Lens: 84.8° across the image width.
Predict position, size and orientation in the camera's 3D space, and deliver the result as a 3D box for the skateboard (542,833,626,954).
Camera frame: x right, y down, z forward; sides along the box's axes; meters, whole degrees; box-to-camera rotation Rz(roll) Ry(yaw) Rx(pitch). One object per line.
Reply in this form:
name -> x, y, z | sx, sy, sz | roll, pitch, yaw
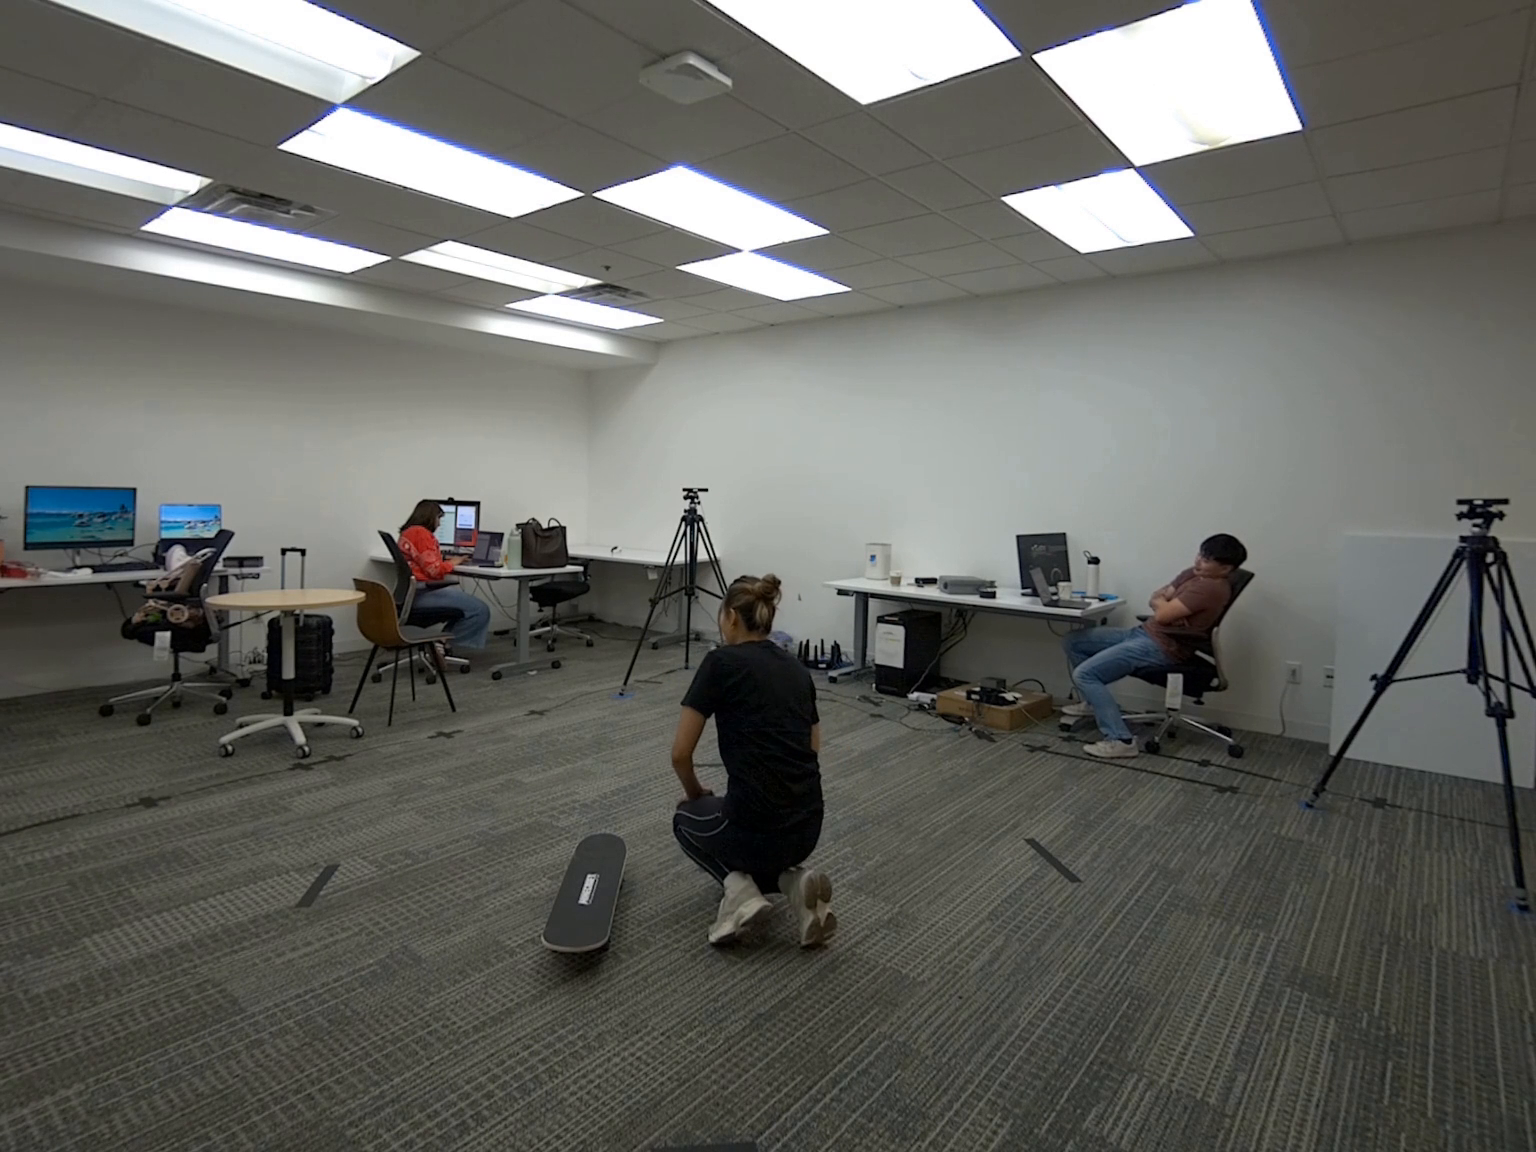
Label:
skateboard -> -0.589, 1.038, 2.763 | 0.193, 0.110, 0.790 | 2, 5, -3
